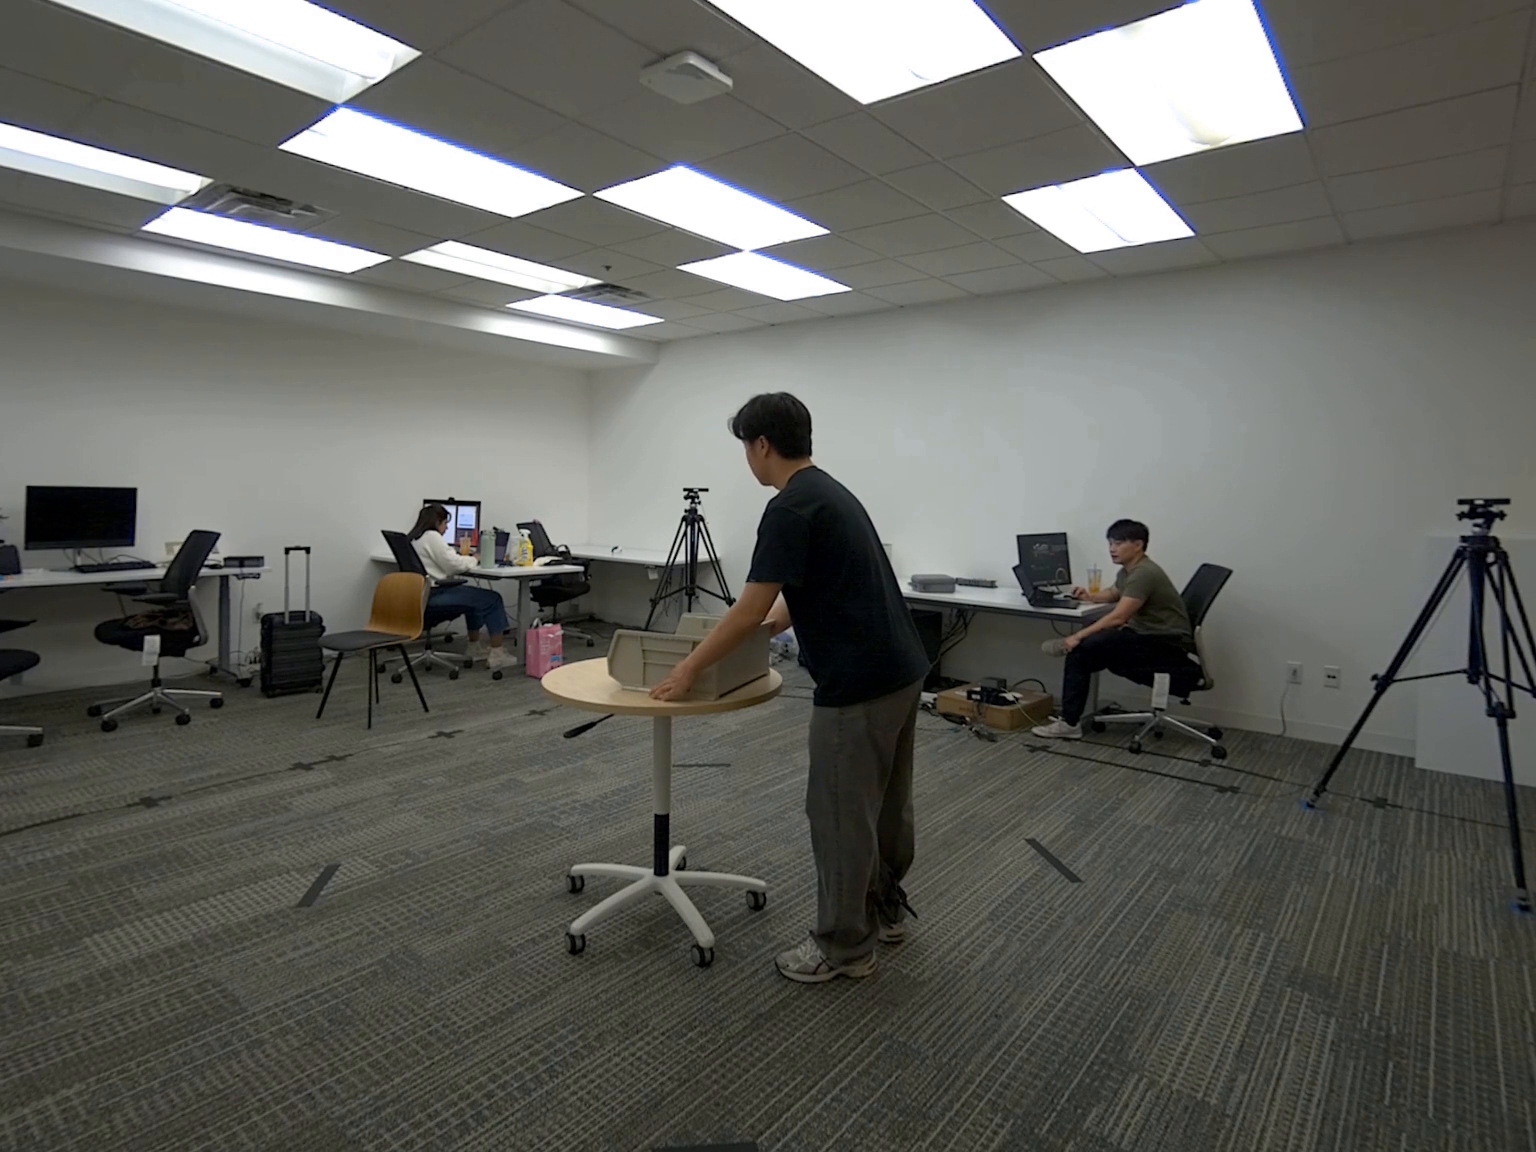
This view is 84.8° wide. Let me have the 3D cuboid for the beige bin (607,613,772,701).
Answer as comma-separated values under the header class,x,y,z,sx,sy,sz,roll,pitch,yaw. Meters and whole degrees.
class,x,y,z,sx,sy,sz,roll,pitch,yaw
beige bin,-0.243,0.239,2.666,0.387,0.188,0.413,4,5,24
